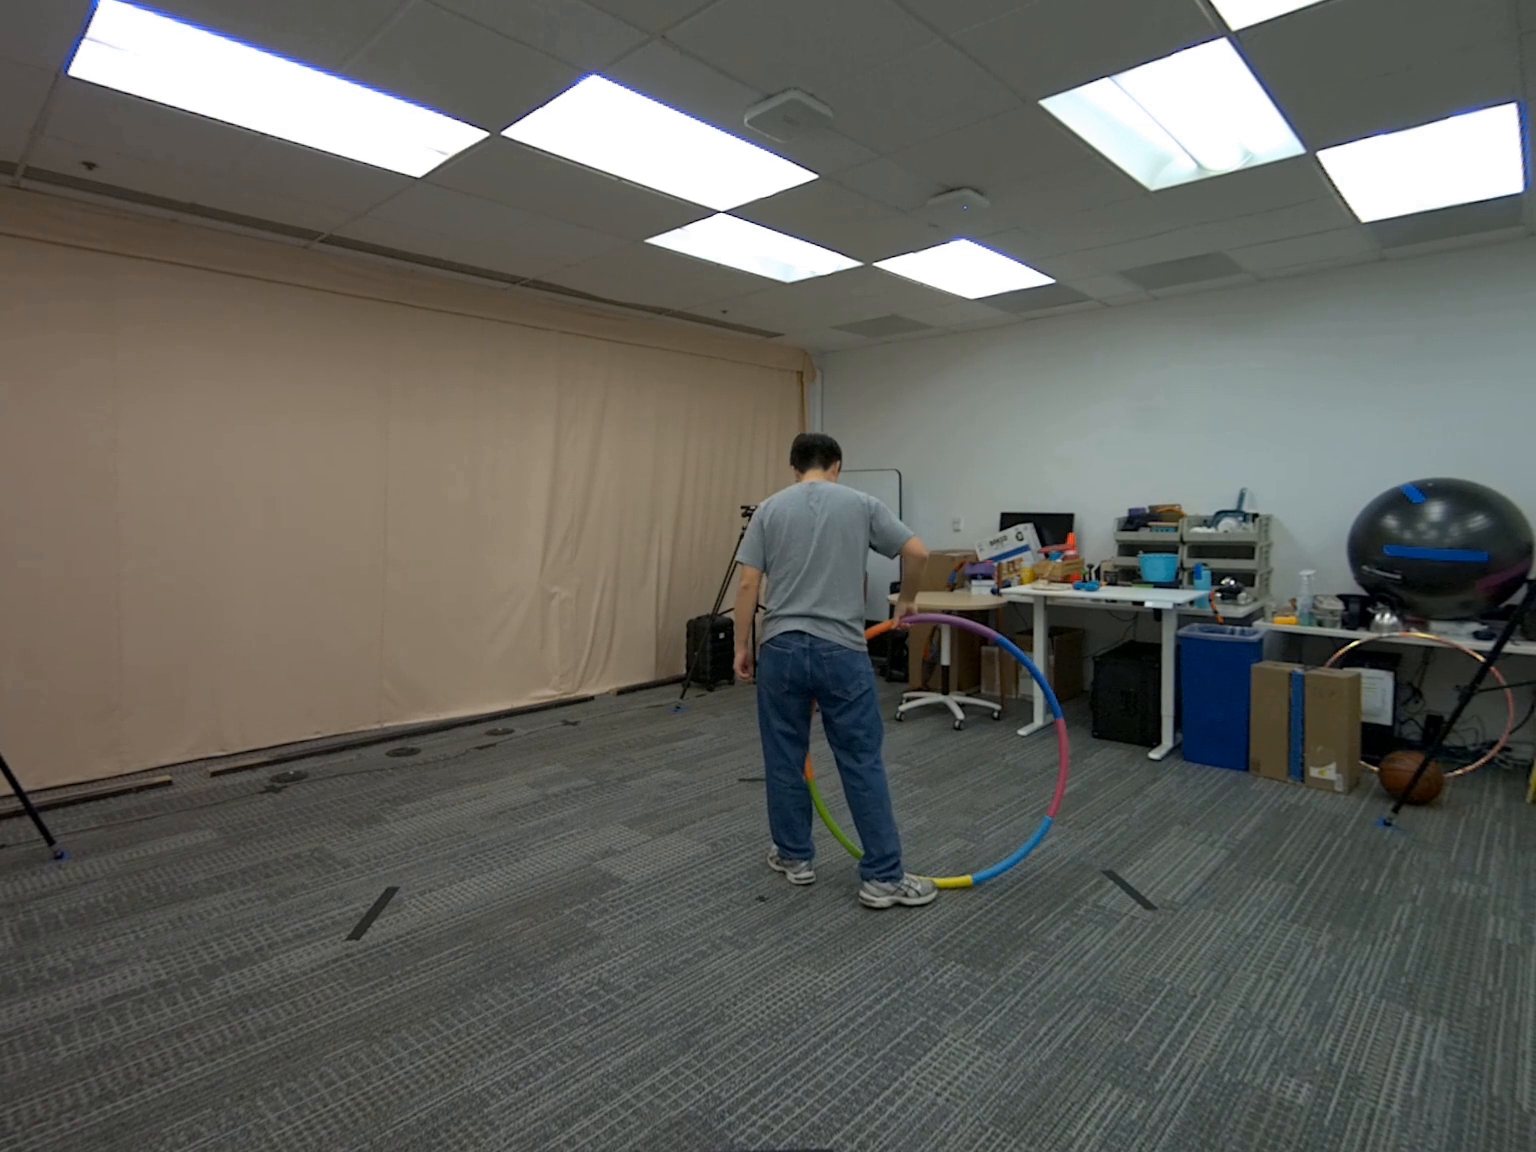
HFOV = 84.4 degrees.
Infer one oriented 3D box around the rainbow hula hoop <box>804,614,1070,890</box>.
[{"bbox_3d":[0.621,0.630,3.139,0.985,0.983,0.035,0,-8,6],"label":"rainbow hula hoop"}]
